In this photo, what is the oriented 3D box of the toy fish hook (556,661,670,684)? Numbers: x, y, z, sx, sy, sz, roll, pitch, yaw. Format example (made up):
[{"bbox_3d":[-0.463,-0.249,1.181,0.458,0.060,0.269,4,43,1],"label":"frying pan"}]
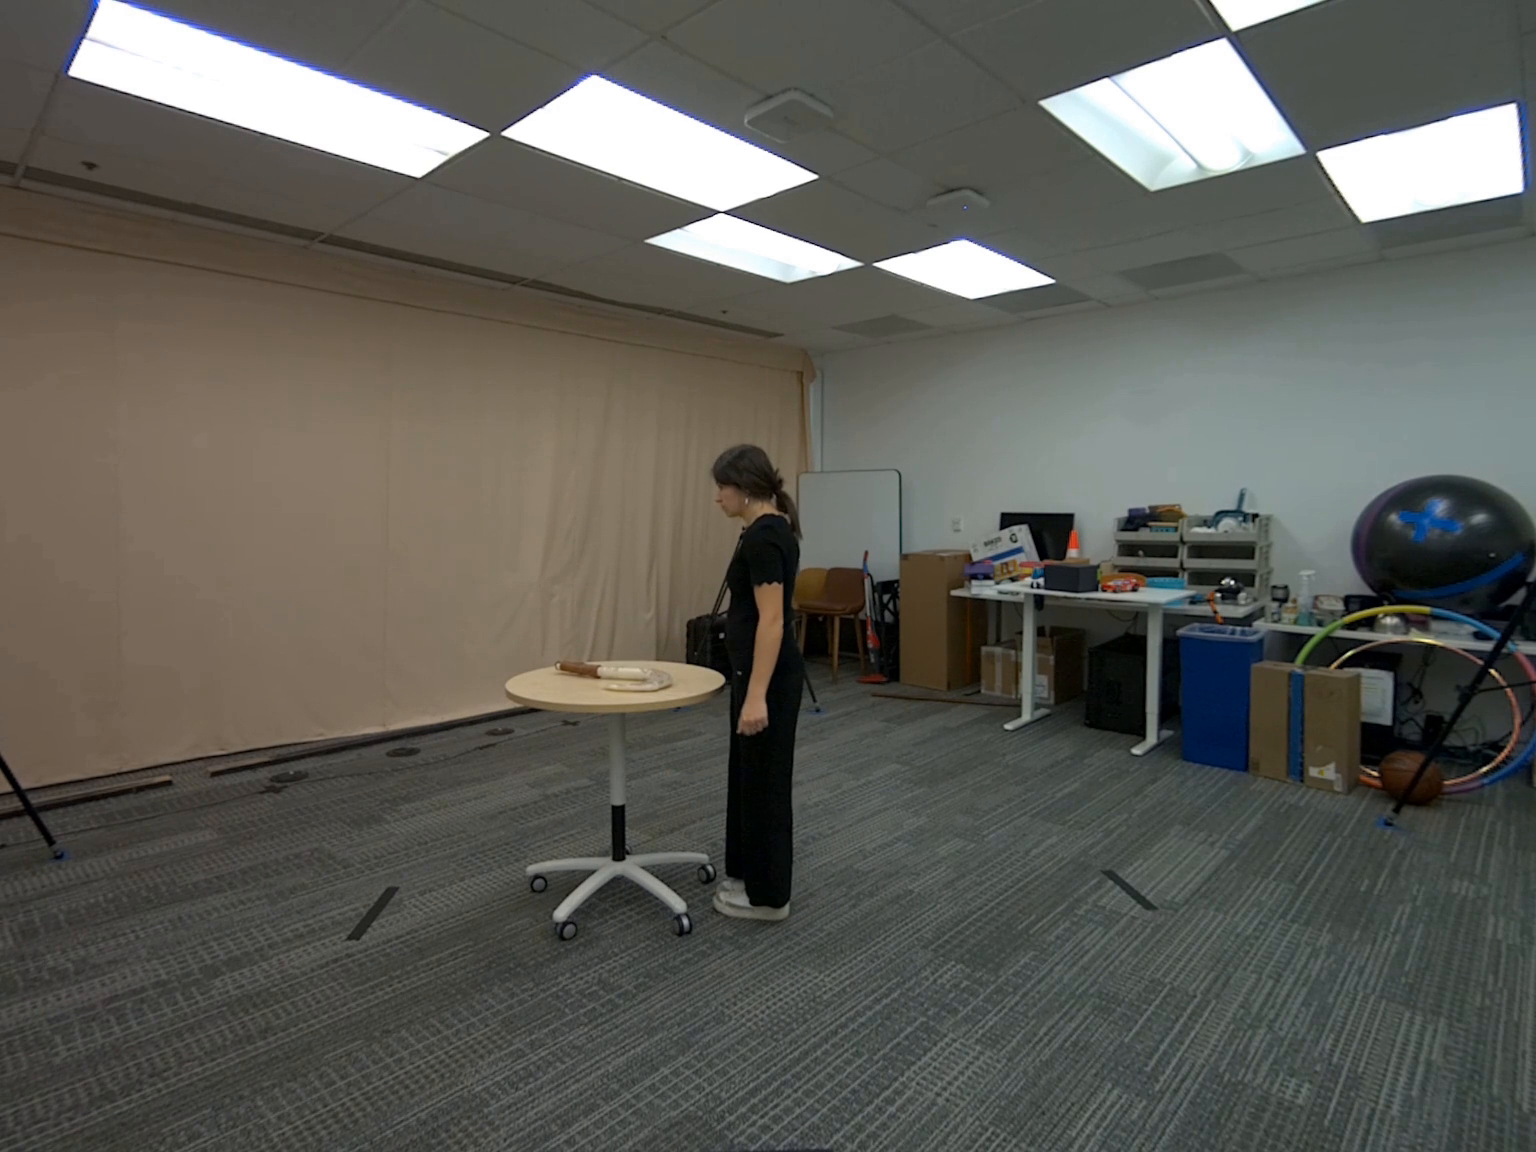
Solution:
[{"bbox_3d":[-0.573,0.352,2.922,0.521,0.048,0.218,3,2,28],"label":"toy fish hook"}]
